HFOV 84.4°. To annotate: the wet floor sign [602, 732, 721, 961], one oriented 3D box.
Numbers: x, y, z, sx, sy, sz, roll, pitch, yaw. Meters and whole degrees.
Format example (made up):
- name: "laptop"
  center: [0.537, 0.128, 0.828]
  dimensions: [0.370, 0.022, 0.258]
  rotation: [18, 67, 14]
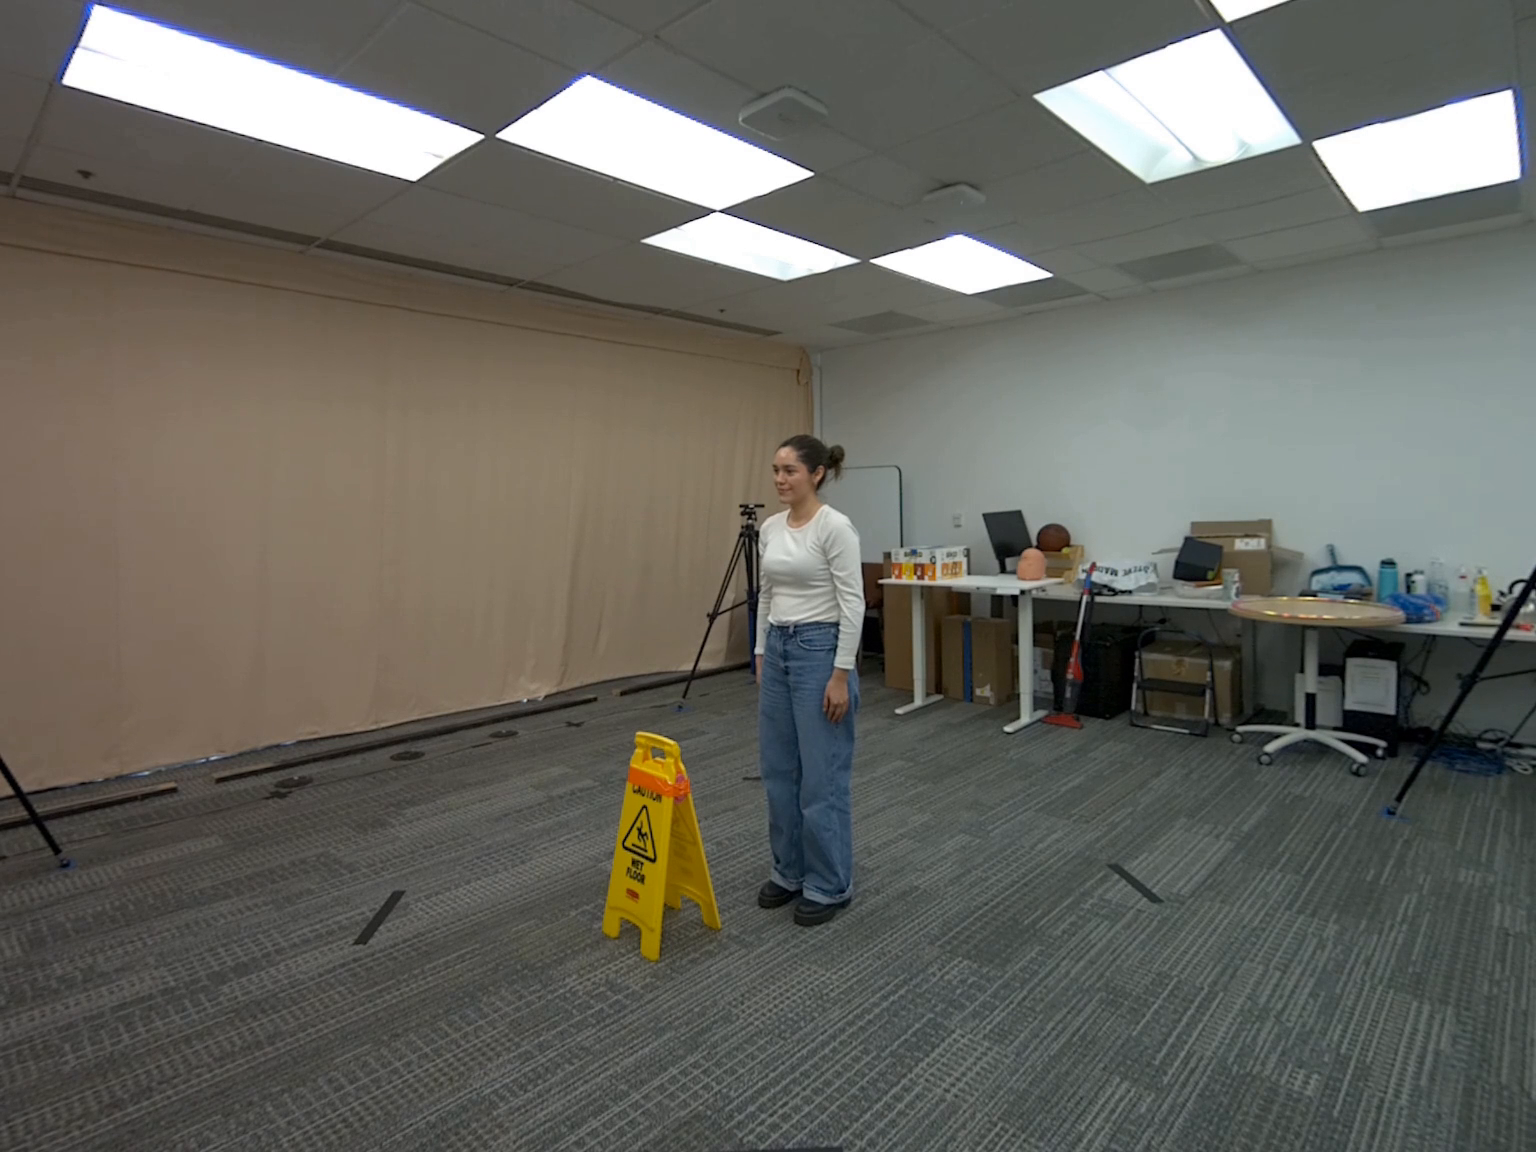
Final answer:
- name: "wet floor sign"
  center: [-0.350, 0.844, 2.755]
  dimensions: [0.291, 0.645, 0.281]
  rotation: [2, 4, 45]
